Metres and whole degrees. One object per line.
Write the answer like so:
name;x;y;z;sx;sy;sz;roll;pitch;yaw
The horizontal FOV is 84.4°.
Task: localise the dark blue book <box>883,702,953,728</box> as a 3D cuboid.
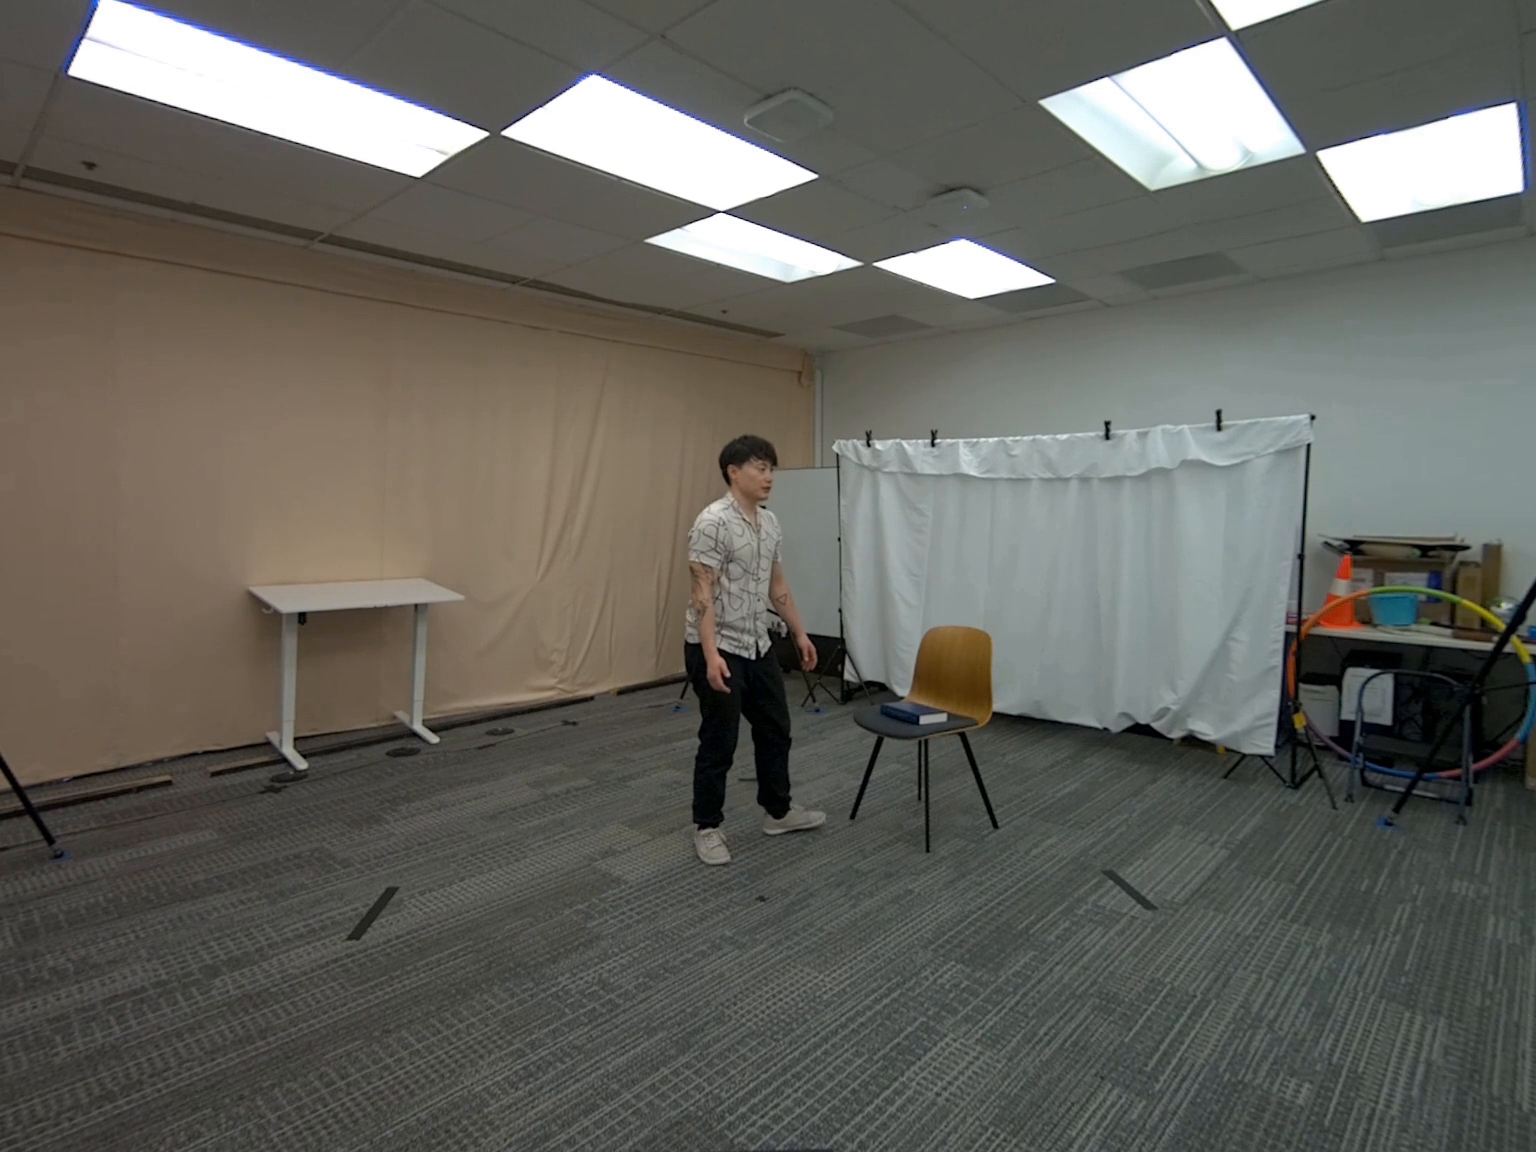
dark blue book;0.633;0.586;3.602;0.159;0.045;0.252;0;3;-32
